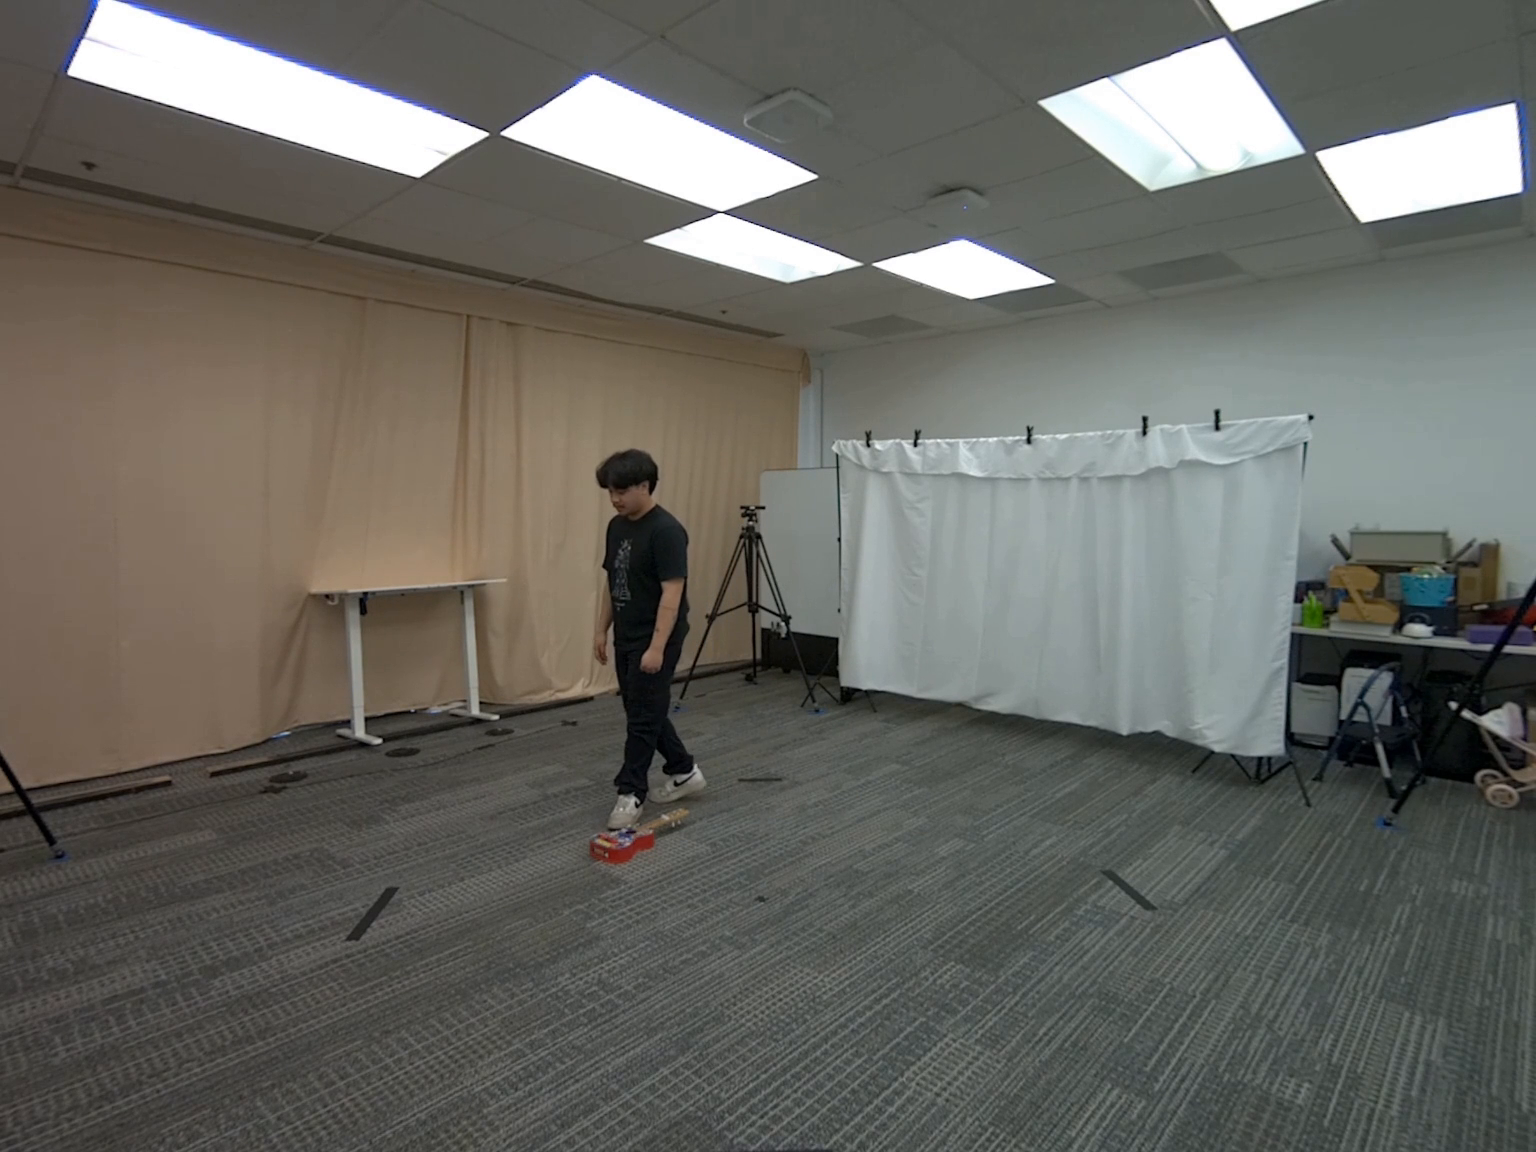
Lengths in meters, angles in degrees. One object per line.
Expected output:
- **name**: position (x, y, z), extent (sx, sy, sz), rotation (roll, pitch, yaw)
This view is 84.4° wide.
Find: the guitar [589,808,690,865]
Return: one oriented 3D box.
- **guitar**: position (-0.498, 1.072, 3.487), extent (0.483, 0.070, 0.199), rotation (-6, 6, -40)
